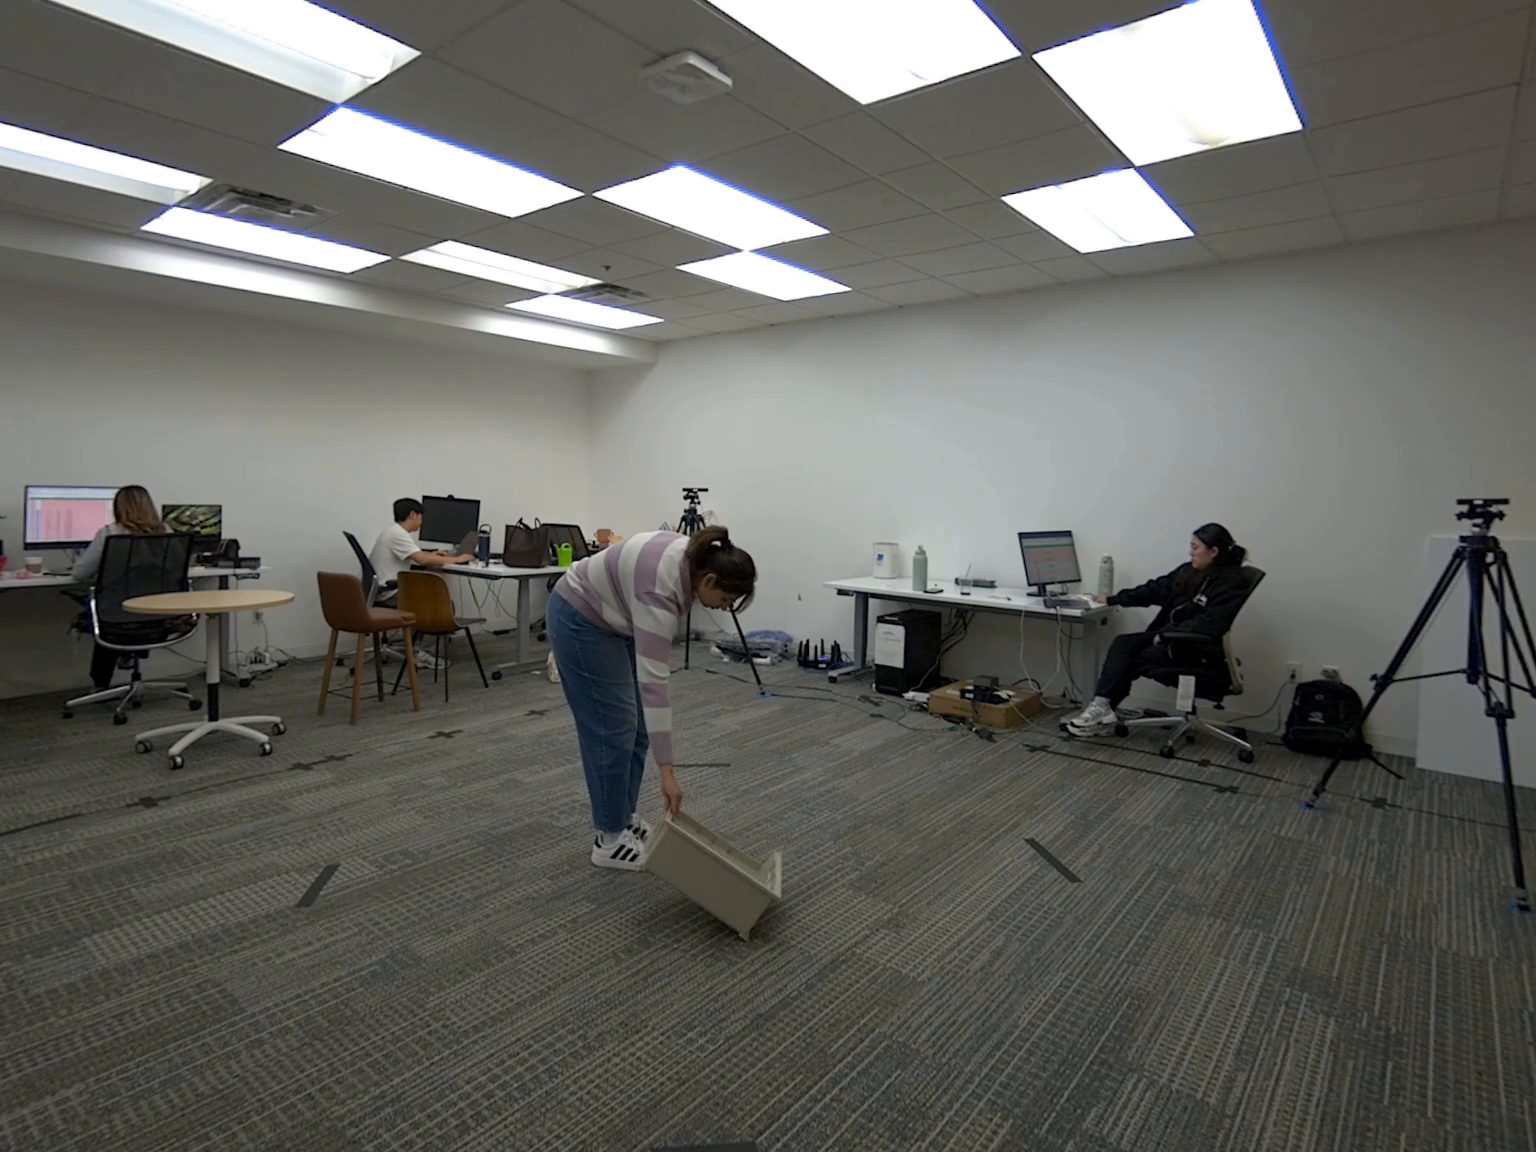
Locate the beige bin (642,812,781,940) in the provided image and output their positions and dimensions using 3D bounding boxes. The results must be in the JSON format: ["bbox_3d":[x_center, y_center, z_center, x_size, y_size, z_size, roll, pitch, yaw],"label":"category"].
[{"bbox_3d":[-0.189,0.915,2.785,0.423,0.189,0.377,34,6,0],"label":"beige bin"}]
